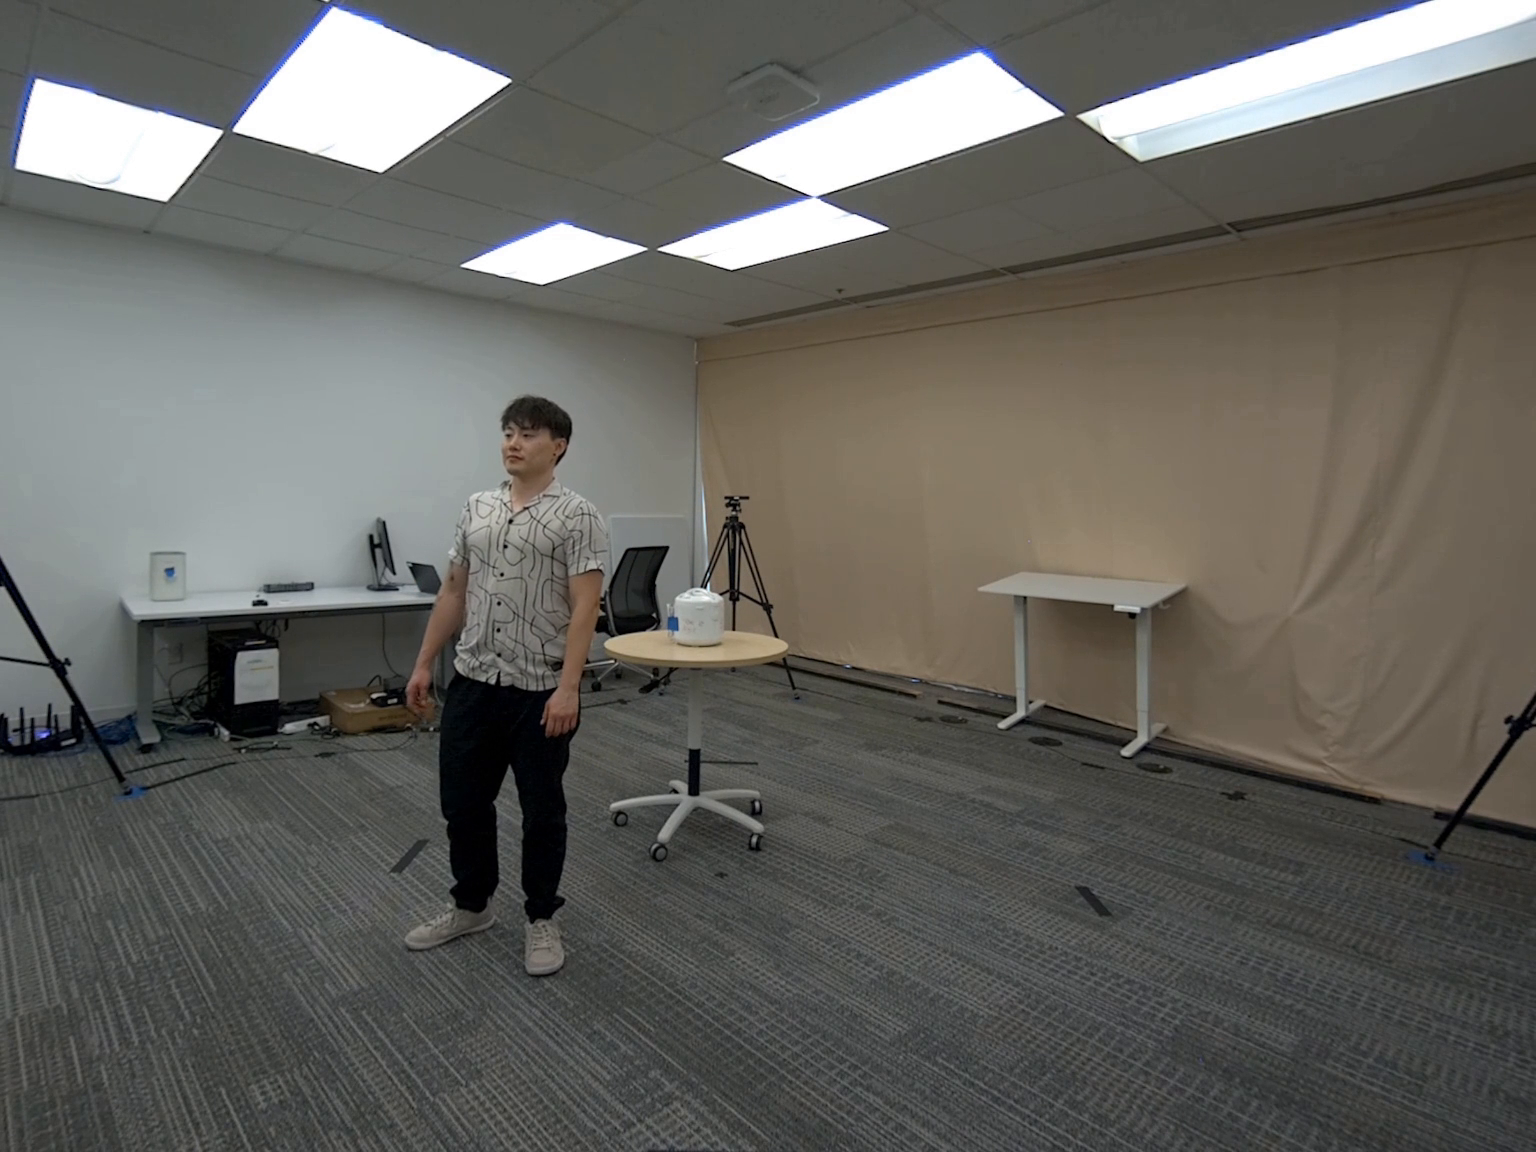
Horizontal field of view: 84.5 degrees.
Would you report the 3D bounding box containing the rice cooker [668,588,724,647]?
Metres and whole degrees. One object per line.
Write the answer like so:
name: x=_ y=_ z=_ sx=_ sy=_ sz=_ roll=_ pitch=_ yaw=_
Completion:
rice cooker: x=-0.295 y=0.166 z=3.513 sx=0.212 sy=0.232 sz=0.226 roll=-4 pitch=7 yaw=-43
